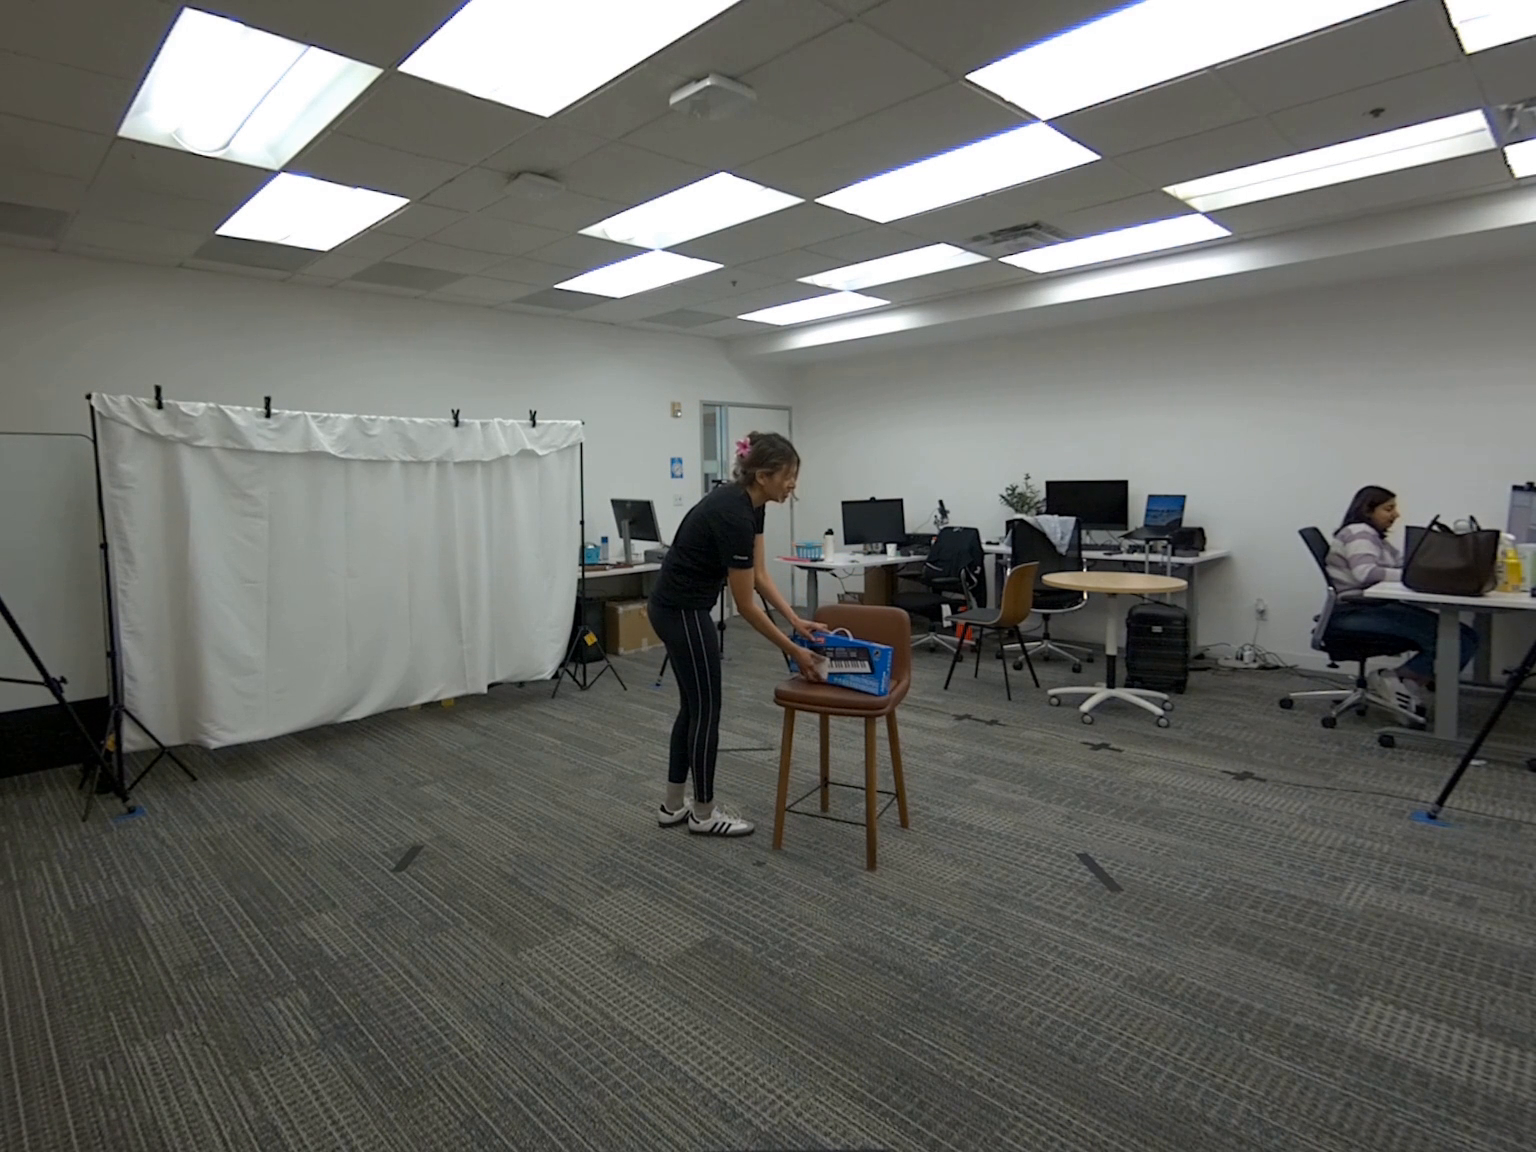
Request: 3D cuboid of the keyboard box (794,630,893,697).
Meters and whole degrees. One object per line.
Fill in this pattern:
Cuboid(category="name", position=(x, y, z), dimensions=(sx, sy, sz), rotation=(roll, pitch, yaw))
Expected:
Cuboid(category="keyboard box", position=(0.258, 0.323, 3.225), dimensions=(0.451, 0.176, 0.057), rotation=(8, 2, 45))
